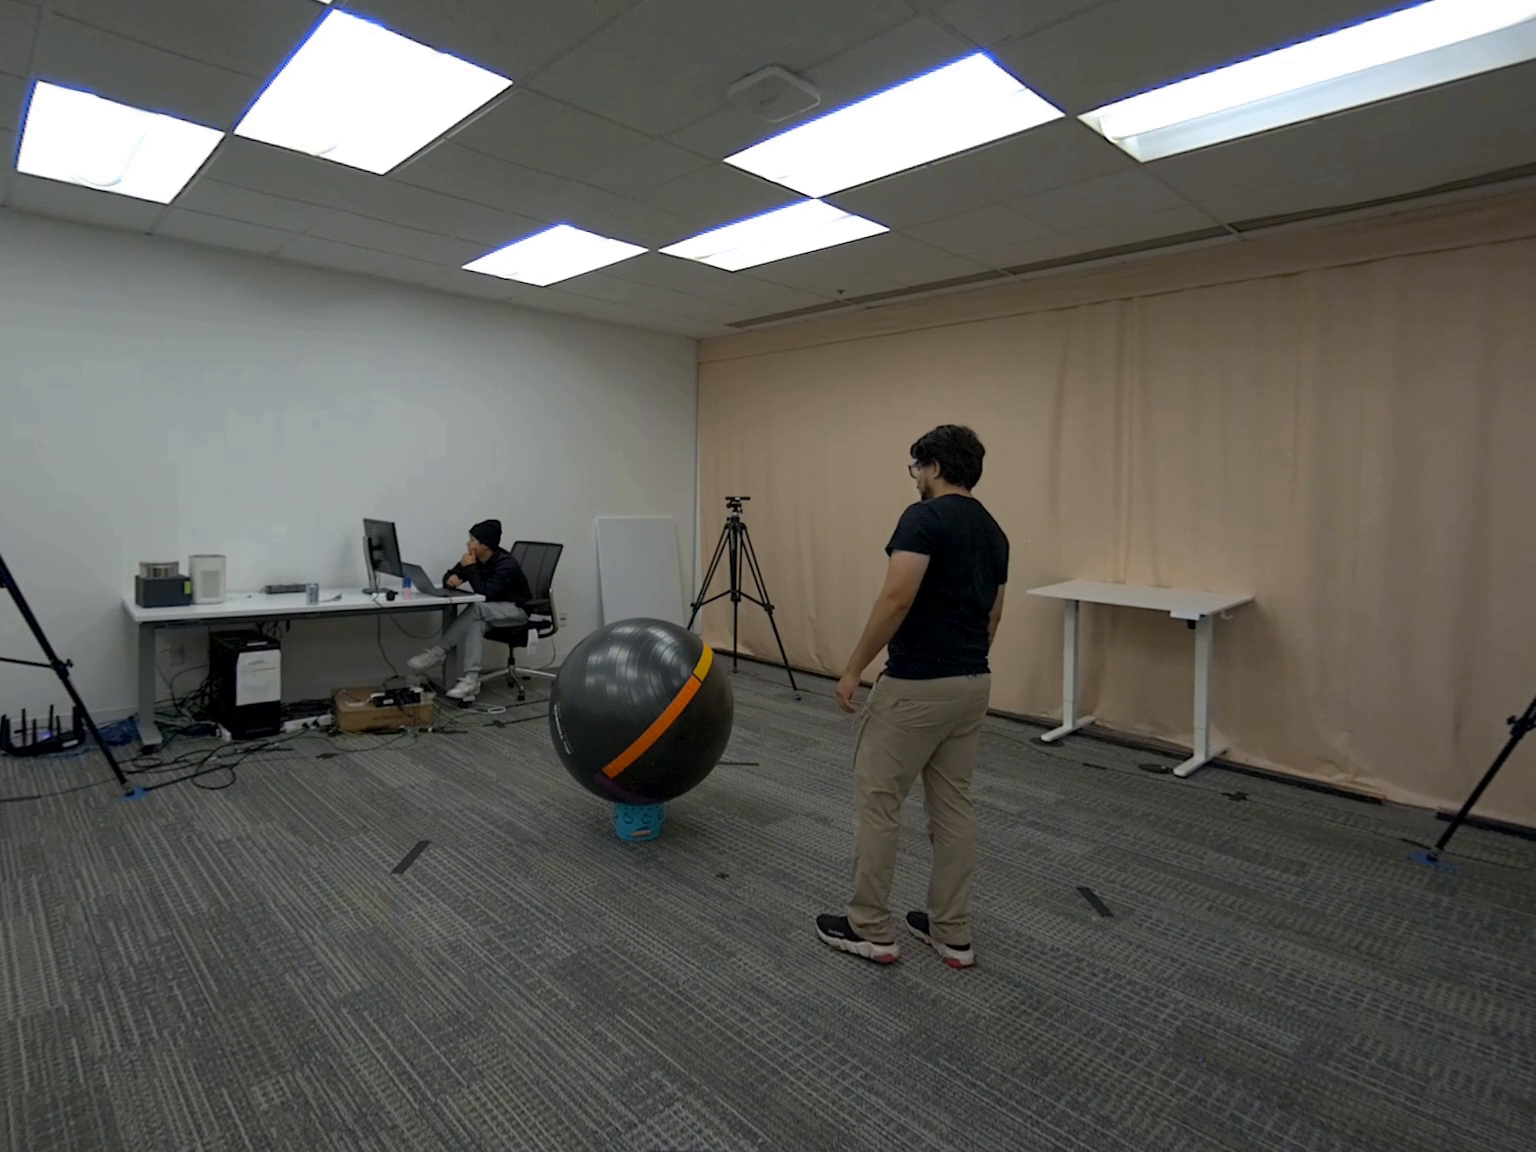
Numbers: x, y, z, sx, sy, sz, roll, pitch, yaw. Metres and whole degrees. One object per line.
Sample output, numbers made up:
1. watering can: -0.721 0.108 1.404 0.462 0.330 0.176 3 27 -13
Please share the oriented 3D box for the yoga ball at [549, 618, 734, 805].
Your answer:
1. yoga ball: -0.523 0.555 3.473 0.757 0.756 0.761 1 4 -1
